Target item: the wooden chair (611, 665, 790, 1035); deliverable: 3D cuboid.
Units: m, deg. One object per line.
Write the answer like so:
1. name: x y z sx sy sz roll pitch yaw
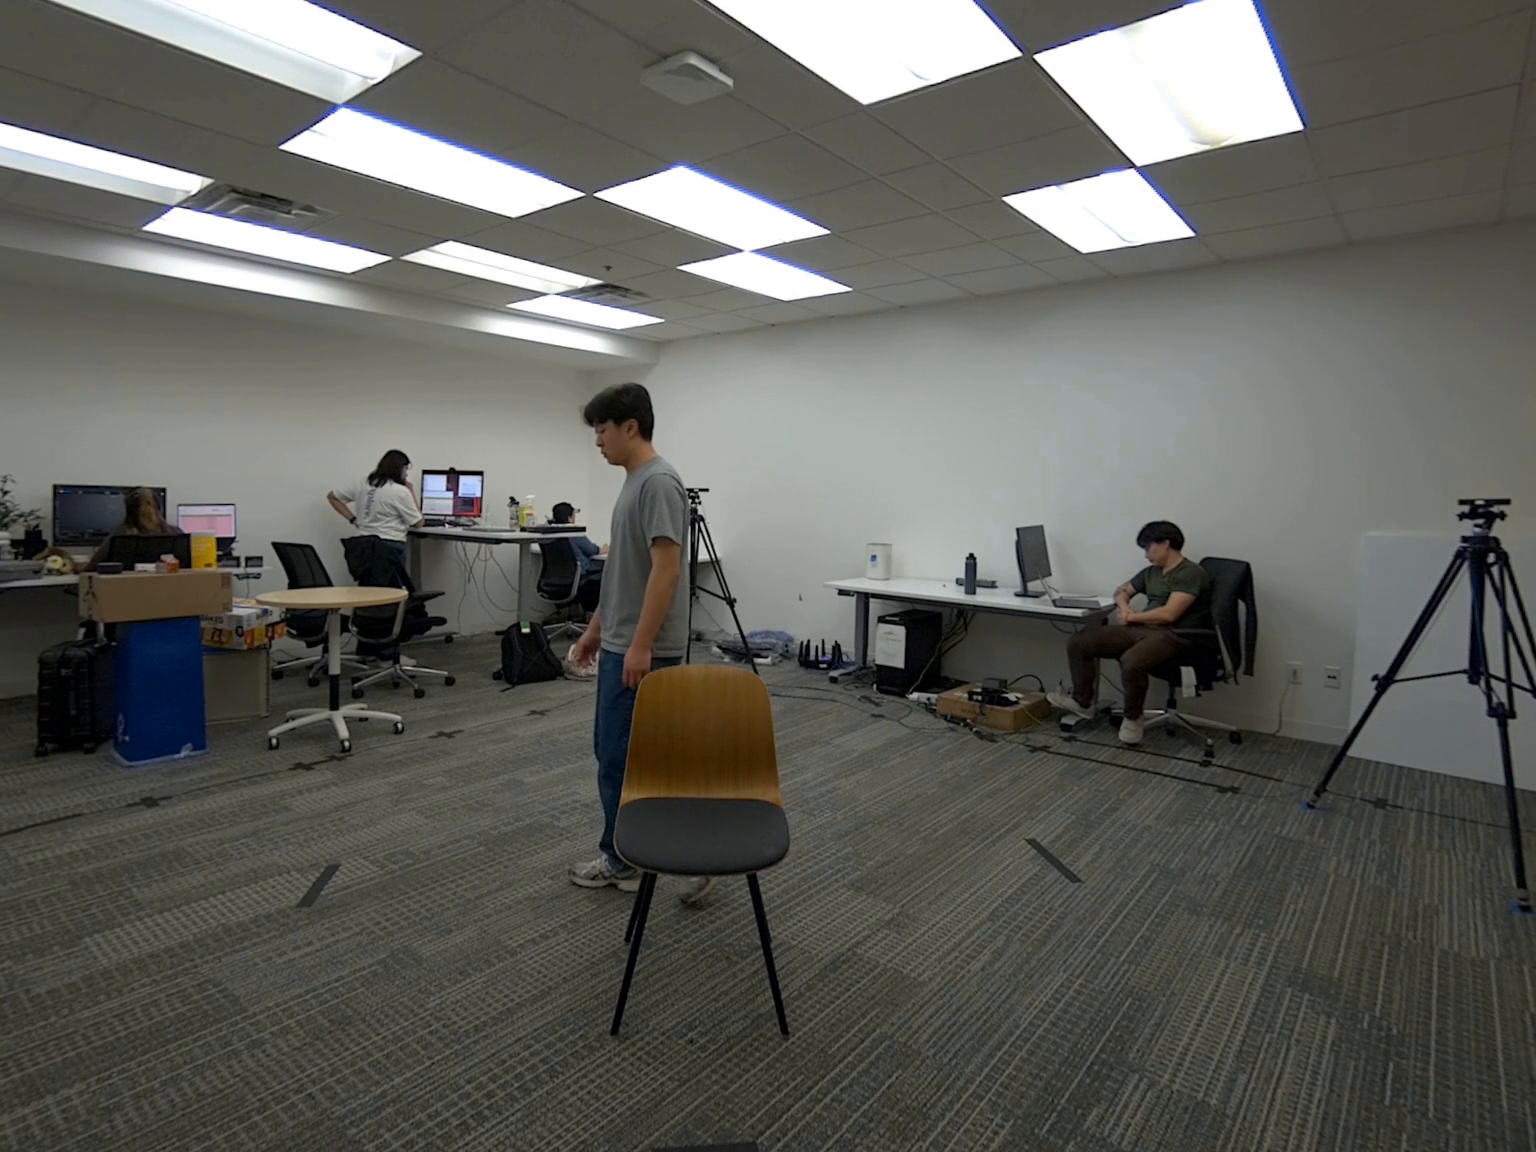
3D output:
1. wooden chair: -0.186 0.720 2.349 0.477 0.878 0.525 1 0 -3
